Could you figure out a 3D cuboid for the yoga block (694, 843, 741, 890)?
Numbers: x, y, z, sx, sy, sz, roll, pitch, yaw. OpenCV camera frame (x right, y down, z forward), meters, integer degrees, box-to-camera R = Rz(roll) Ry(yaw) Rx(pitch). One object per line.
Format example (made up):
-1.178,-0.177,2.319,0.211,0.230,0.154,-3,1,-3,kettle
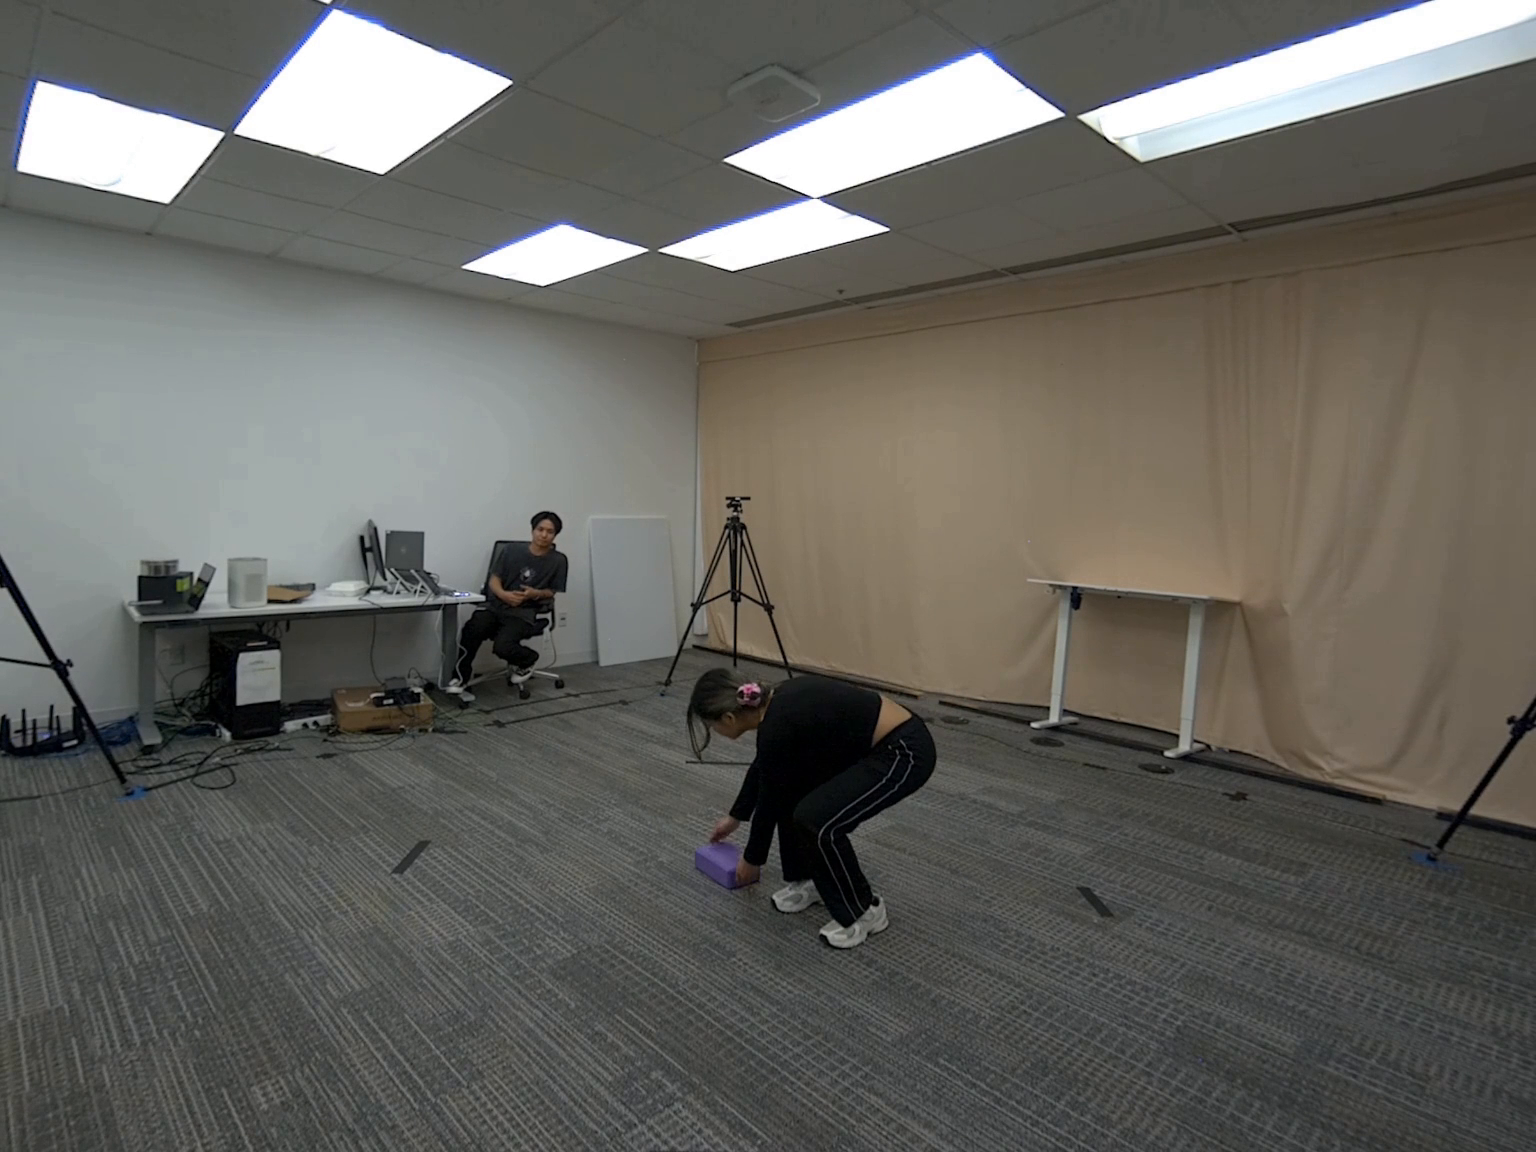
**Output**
-0.159,1.065,3.113,0.146,0.076,0.235,-3,6,-37,yoga block
